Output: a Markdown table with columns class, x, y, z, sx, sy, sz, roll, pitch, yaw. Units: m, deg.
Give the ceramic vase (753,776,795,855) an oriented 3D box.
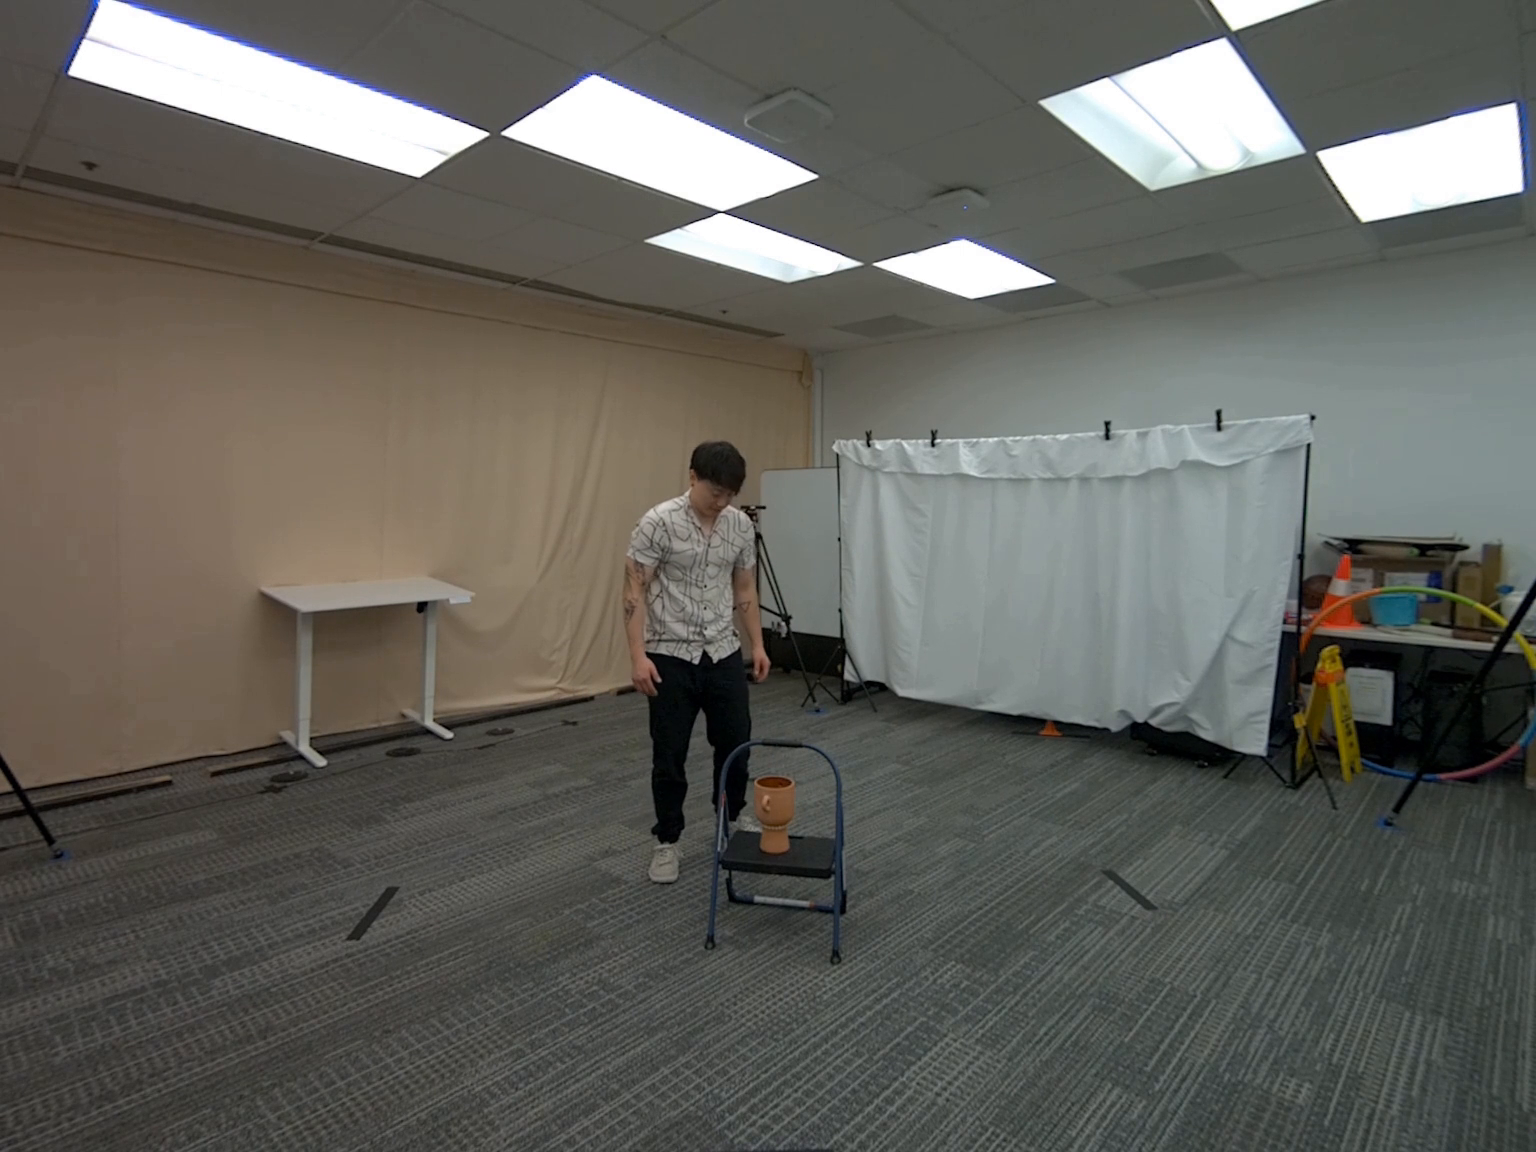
| class | x | y | z | sx | sy | sz | roll | pitch | yaw |
| --- | --- | --- | --- | --- | --- | --- | --- | --- | --- |
| ceramic vase | 0.020 | 0.780 | 2.779 | 0.155 | 0.219 | 0.138 | -3 | 4 | -29 |
